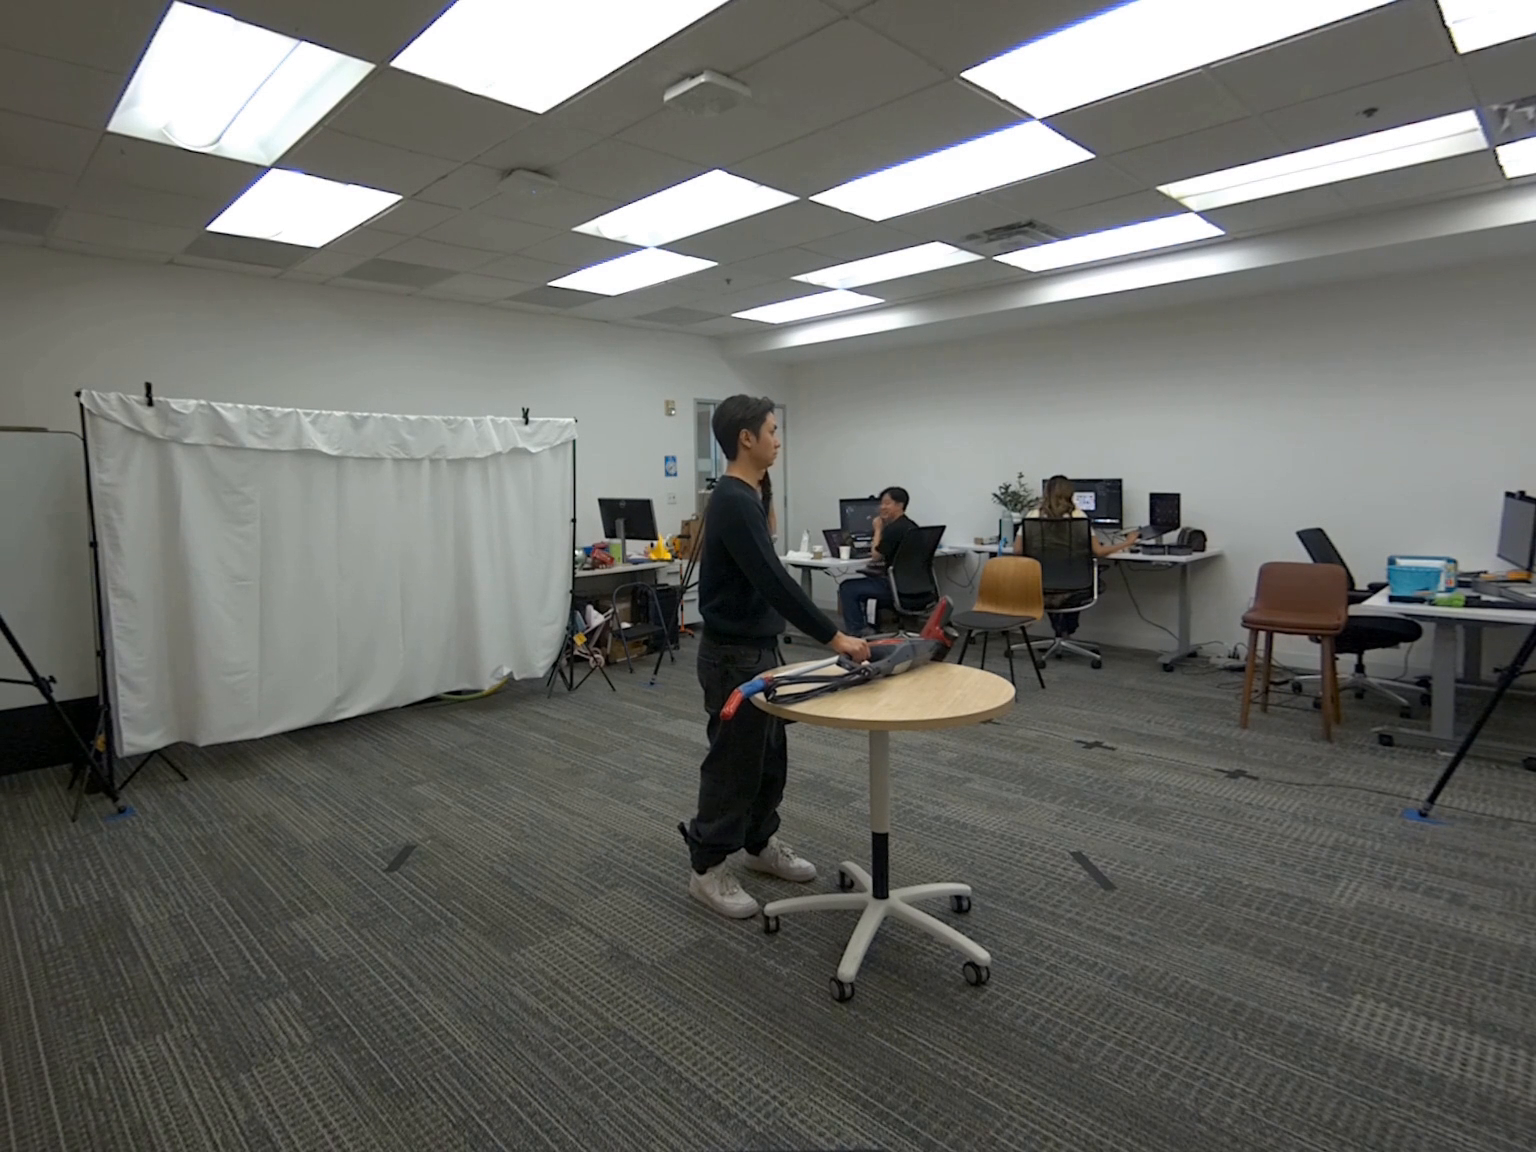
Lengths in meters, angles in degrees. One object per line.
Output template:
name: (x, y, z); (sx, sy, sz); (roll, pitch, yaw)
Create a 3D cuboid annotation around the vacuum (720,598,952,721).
vacuum: (0.224, 0.279, 2.512); (1.024, 0.250, 0.149); (-12, 47, -47)
